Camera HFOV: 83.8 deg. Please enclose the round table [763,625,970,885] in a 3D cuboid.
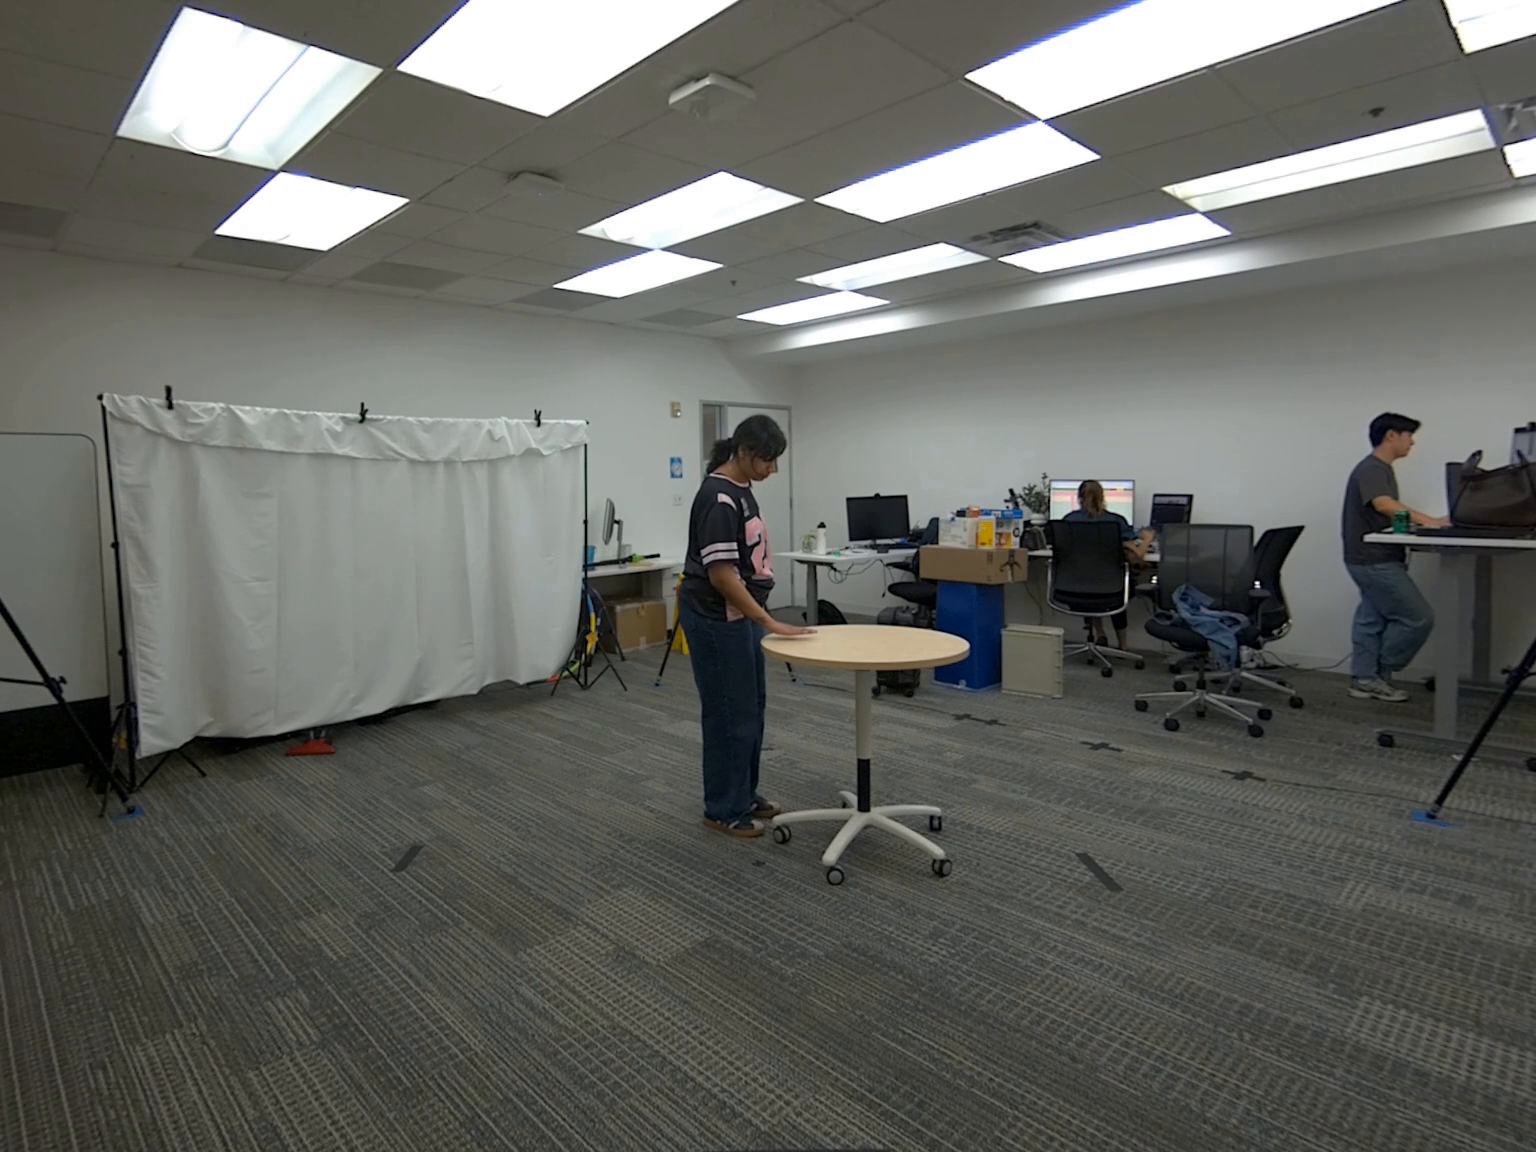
[{"bbox_3d":[0.370,0.634,3.221,0.784,0.783,0.789,-1,5,-2],"label":"round table"}]
